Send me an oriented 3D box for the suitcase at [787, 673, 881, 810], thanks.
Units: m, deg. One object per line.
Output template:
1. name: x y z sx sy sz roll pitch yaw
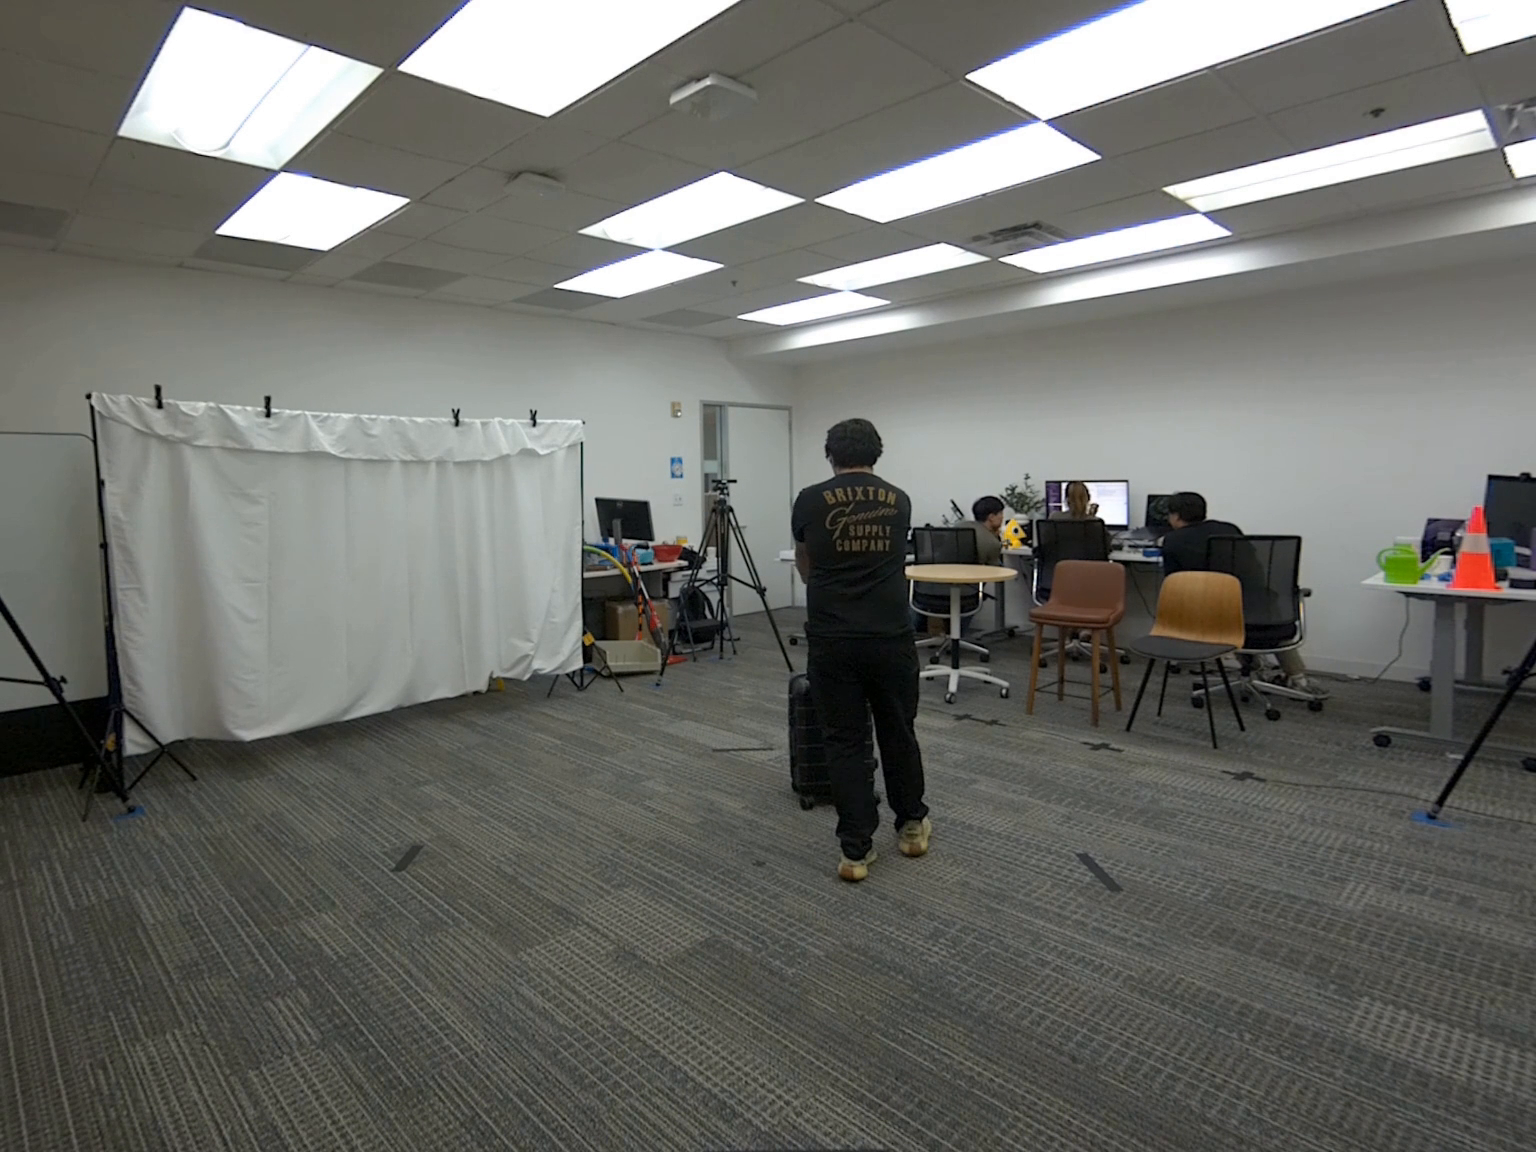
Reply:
1. suitcase: 0.266 0.495 3.744 0.383 0.979 0.258 -2 0 -3
